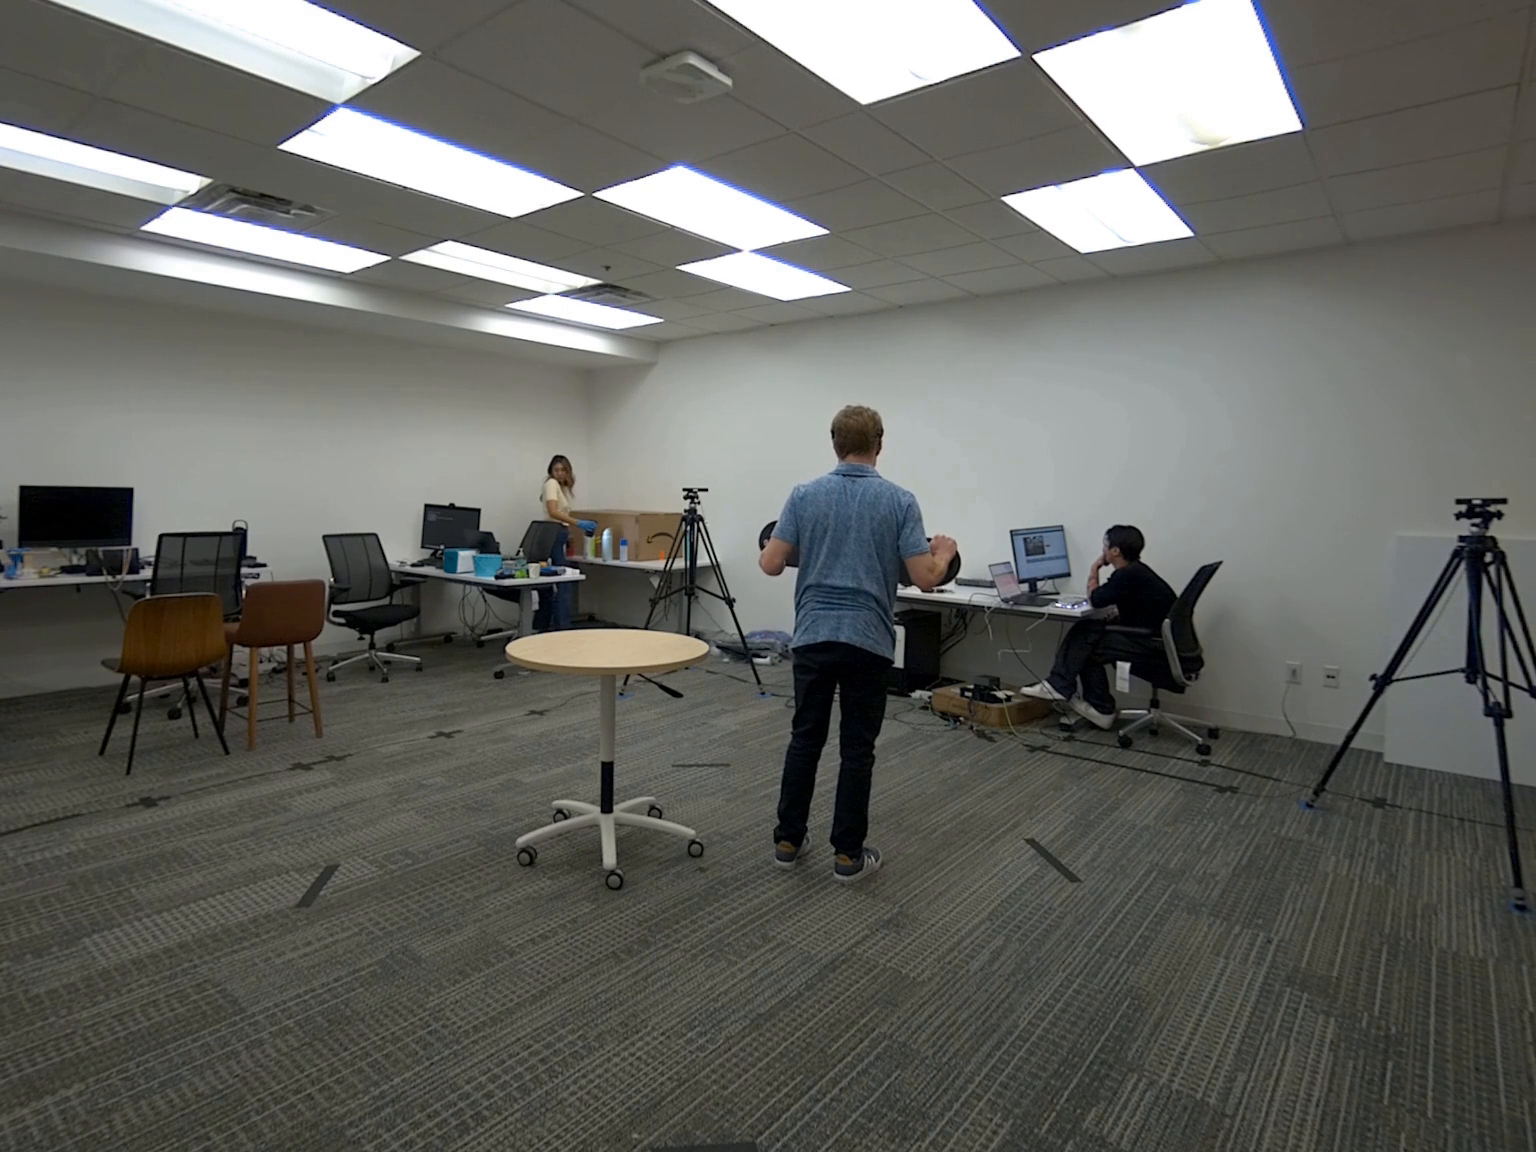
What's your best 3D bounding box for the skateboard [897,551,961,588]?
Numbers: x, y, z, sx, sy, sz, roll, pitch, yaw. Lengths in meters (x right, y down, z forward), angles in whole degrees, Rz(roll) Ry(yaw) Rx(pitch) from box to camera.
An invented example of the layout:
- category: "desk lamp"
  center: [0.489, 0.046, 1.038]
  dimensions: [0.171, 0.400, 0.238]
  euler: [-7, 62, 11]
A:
- category: "skateboard"
  center: [0.342, -0.086, 3.324]
  dimensions: [0.804, 0.195, 0.107]
  euler: [9, -11, 20]
